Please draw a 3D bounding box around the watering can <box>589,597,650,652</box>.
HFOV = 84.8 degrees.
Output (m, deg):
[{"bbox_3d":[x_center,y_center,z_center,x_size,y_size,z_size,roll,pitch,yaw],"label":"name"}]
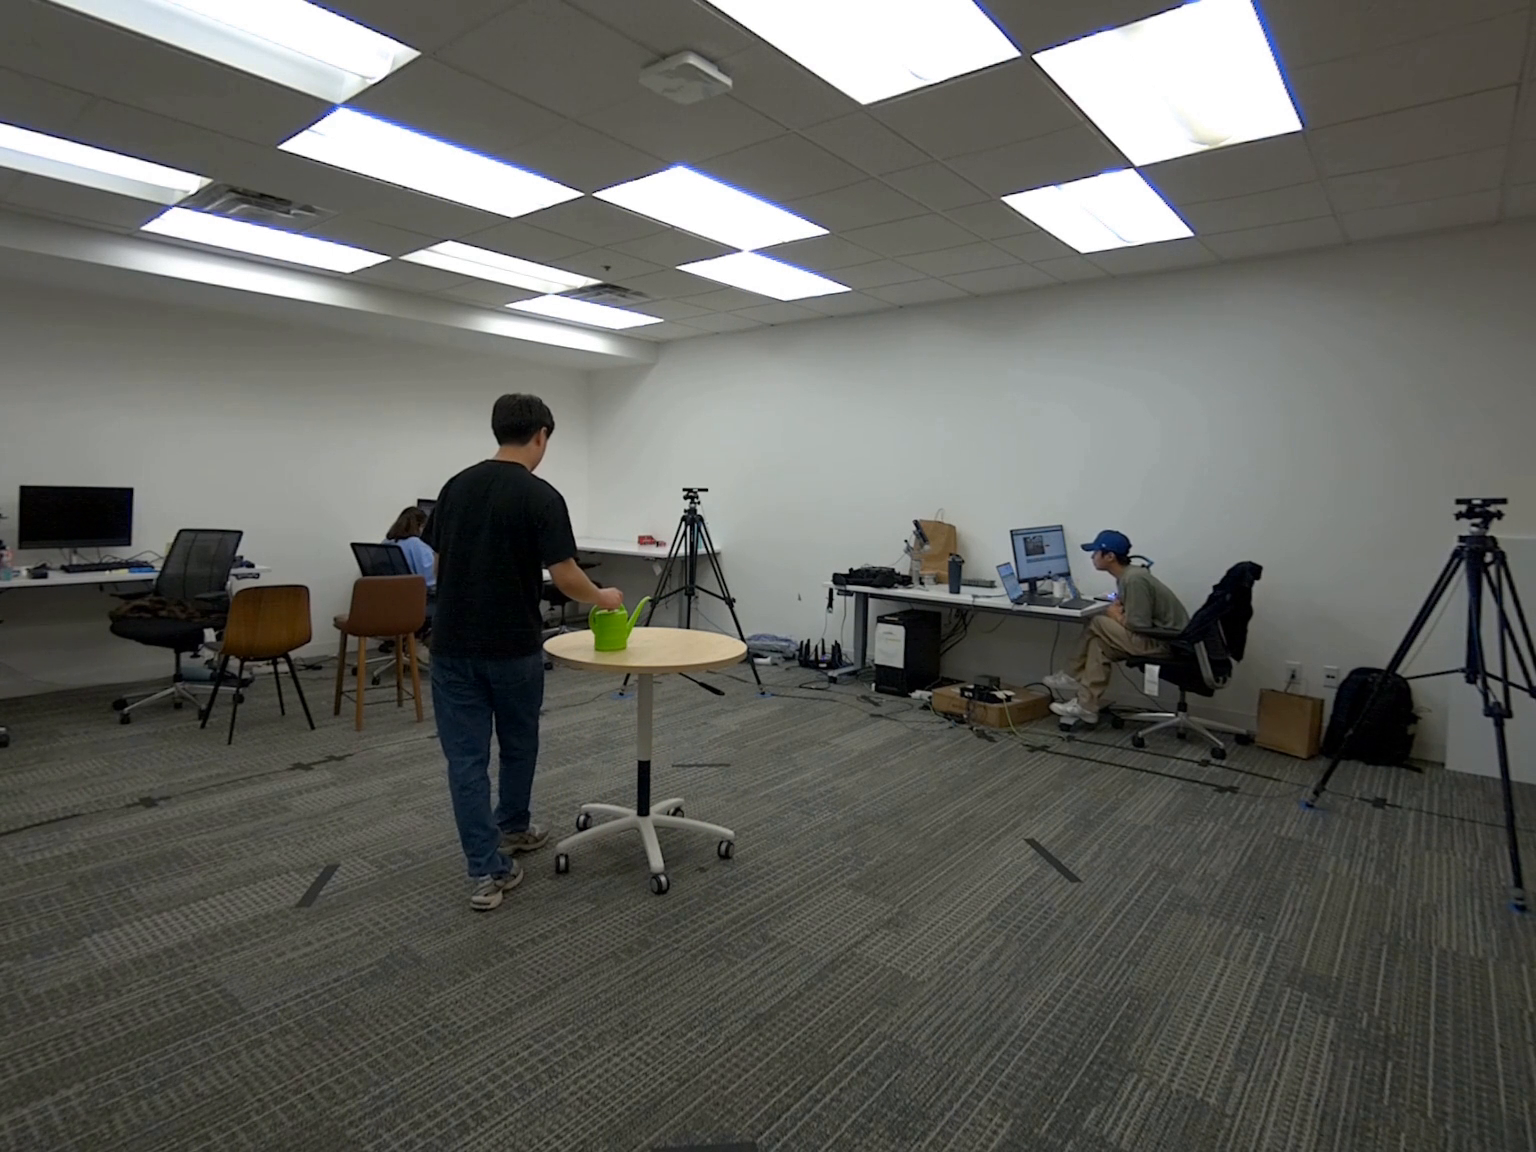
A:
[{"bbox_3d":[-0.553,0.179,3.138,0.271,0.175,0.101,-5,11,-30],"label":"watering can"}]
